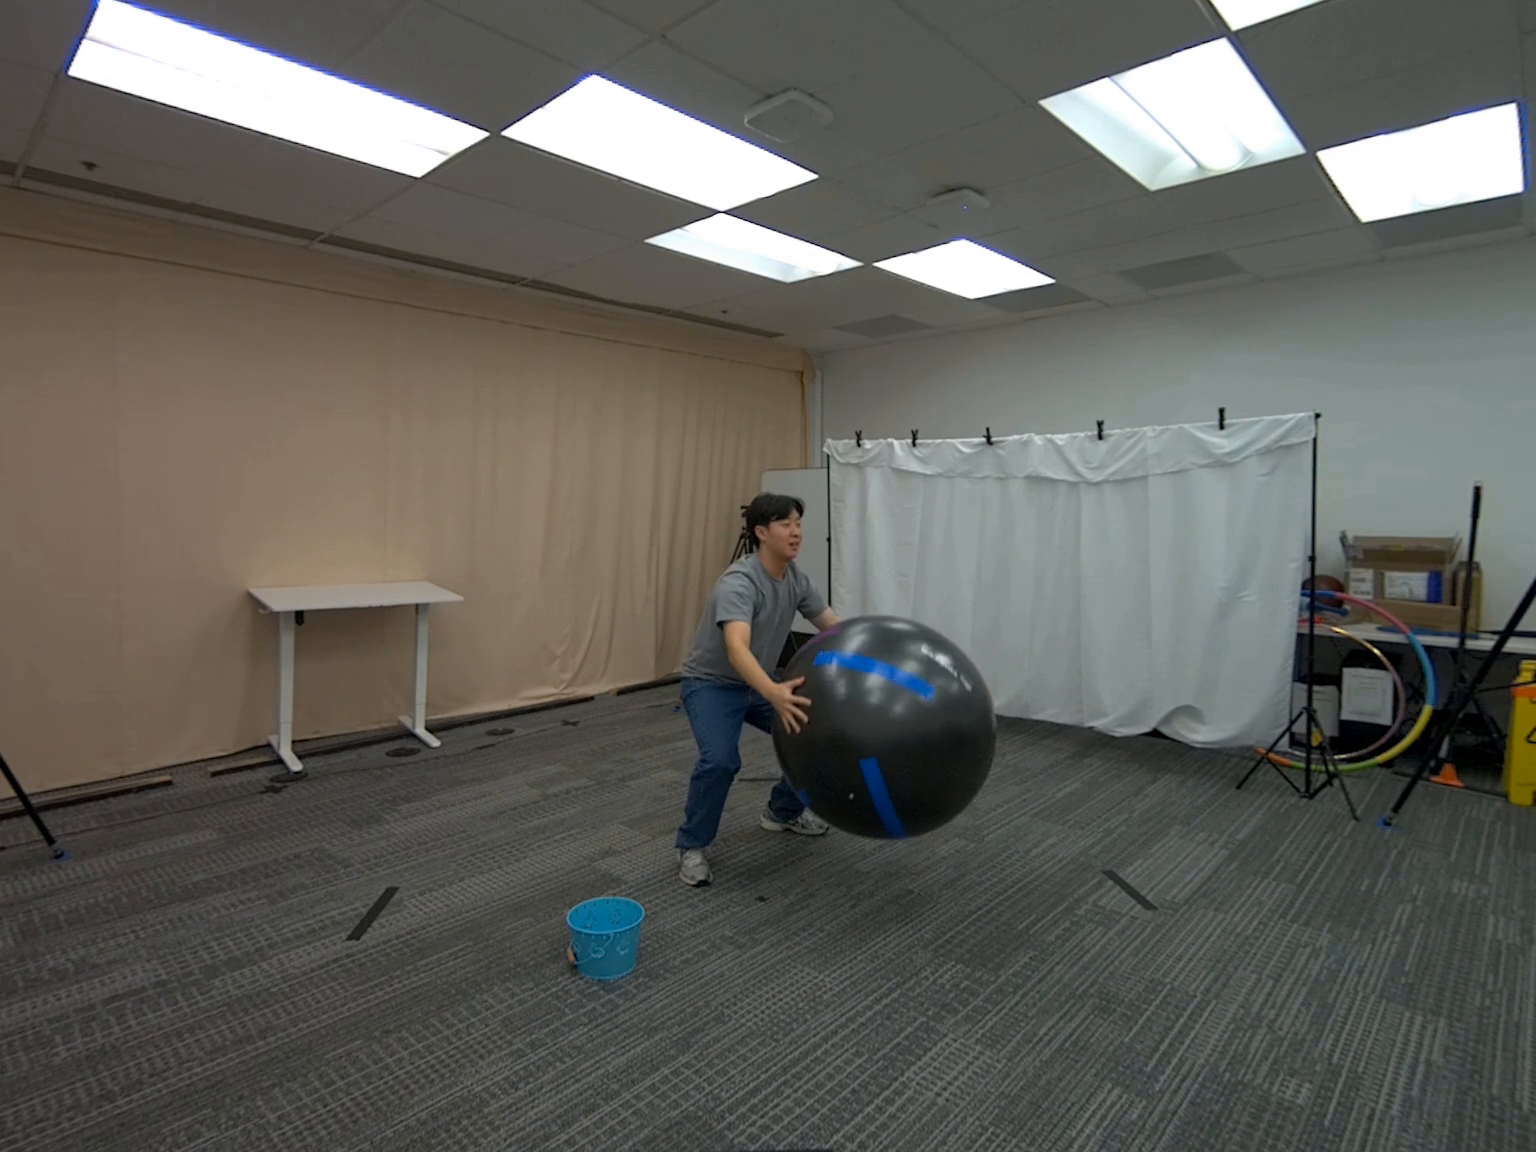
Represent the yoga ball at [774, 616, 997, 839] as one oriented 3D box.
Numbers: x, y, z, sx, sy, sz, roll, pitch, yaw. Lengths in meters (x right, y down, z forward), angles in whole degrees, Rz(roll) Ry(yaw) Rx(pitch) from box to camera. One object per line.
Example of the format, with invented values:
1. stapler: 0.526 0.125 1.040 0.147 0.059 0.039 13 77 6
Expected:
1. yoga ball: 0.394 0.497 2.918 0.757 0.756 0.760 0 4 -2
